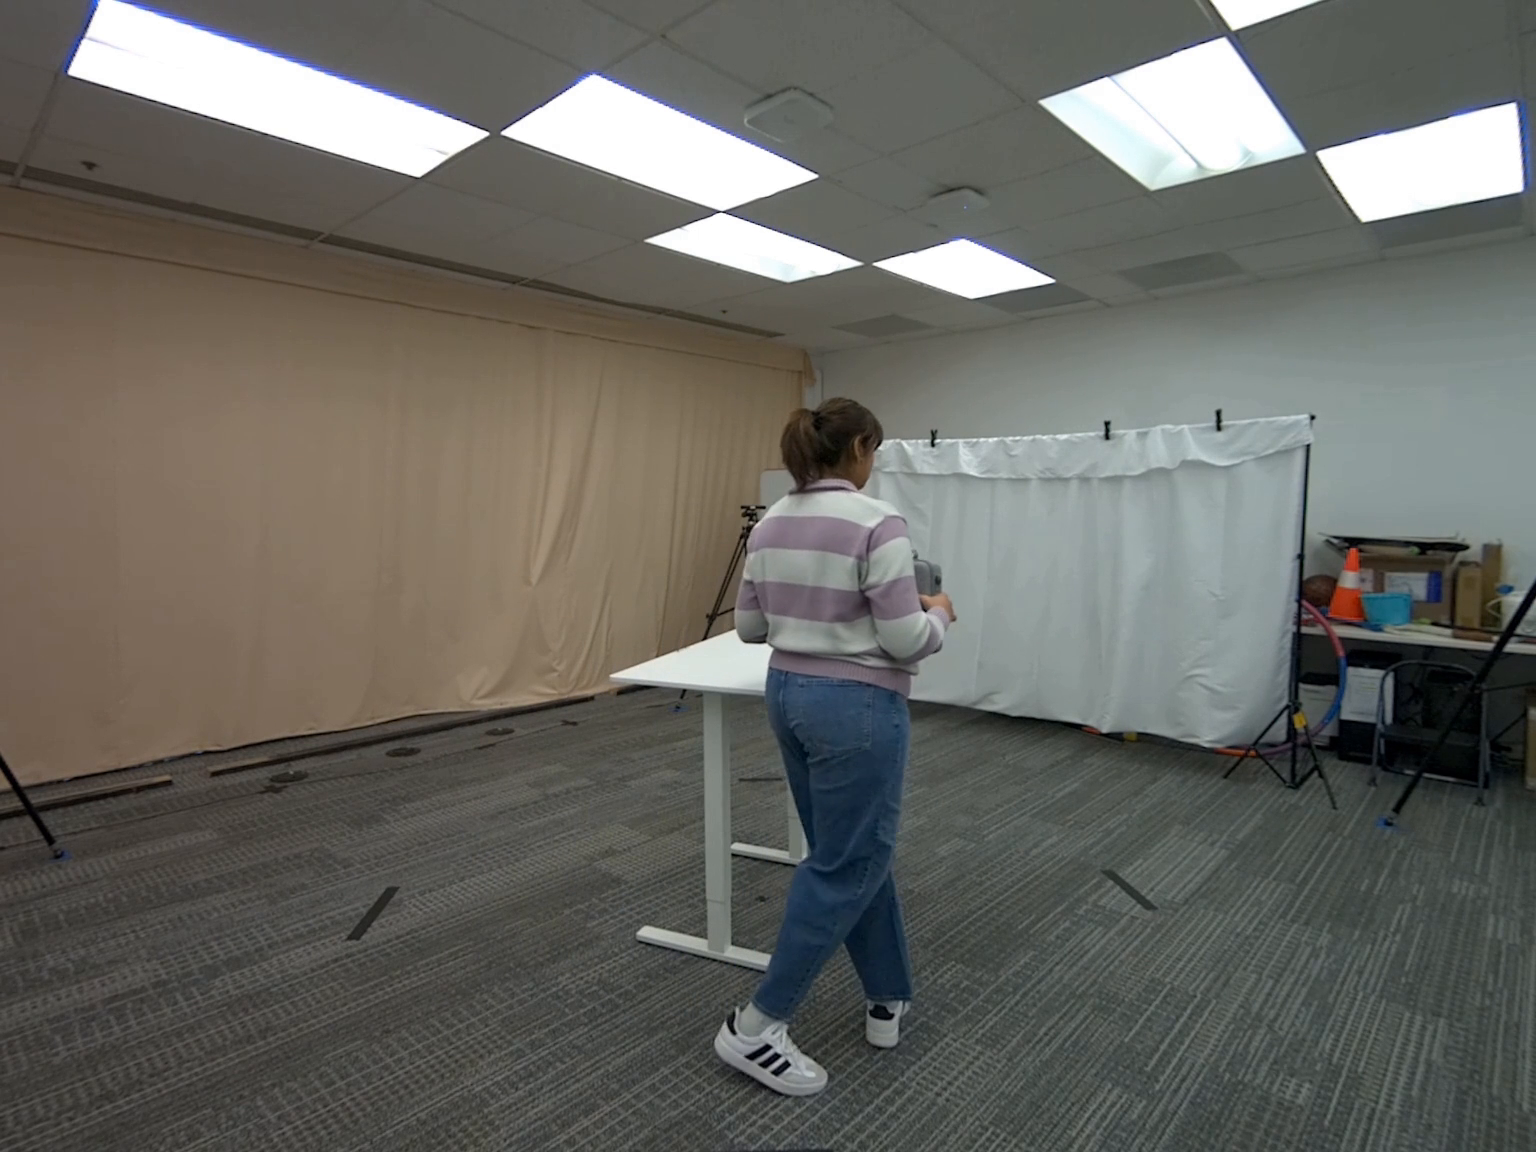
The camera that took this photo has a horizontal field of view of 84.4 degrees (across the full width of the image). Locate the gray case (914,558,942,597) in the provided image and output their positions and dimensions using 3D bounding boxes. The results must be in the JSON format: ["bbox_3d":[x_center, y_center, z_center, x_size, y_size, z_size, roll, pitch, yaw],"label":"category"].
[{"bbox_3d":[0.359,0.079,2.295,0.265,0.261,0.101,-1,-4,37],"label":"gray case"}]
